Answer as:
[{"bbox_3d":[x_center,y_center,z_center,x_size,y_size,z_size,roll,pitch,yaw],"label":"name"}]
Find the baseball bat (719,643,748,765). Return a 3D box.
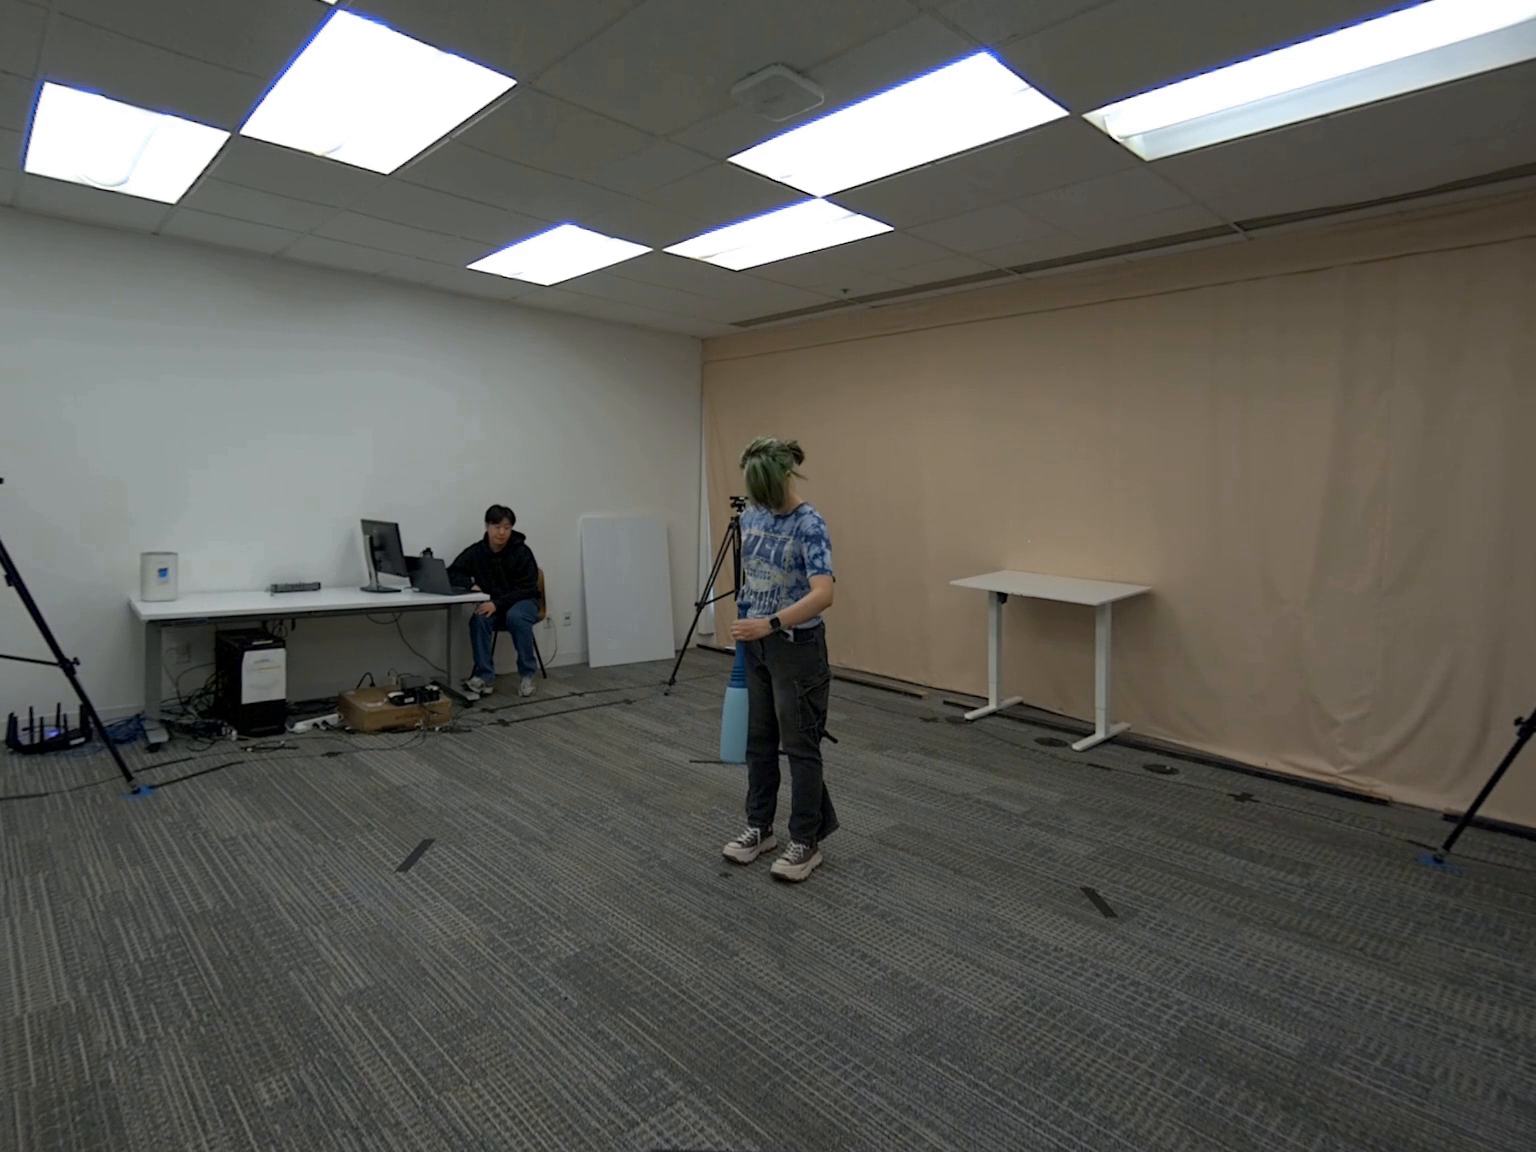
[{"bbox_3d":[-0.103,0.364,2.844,0.089,0.546,0.088,5,-7,-1],"label":"baseball bat"}]
